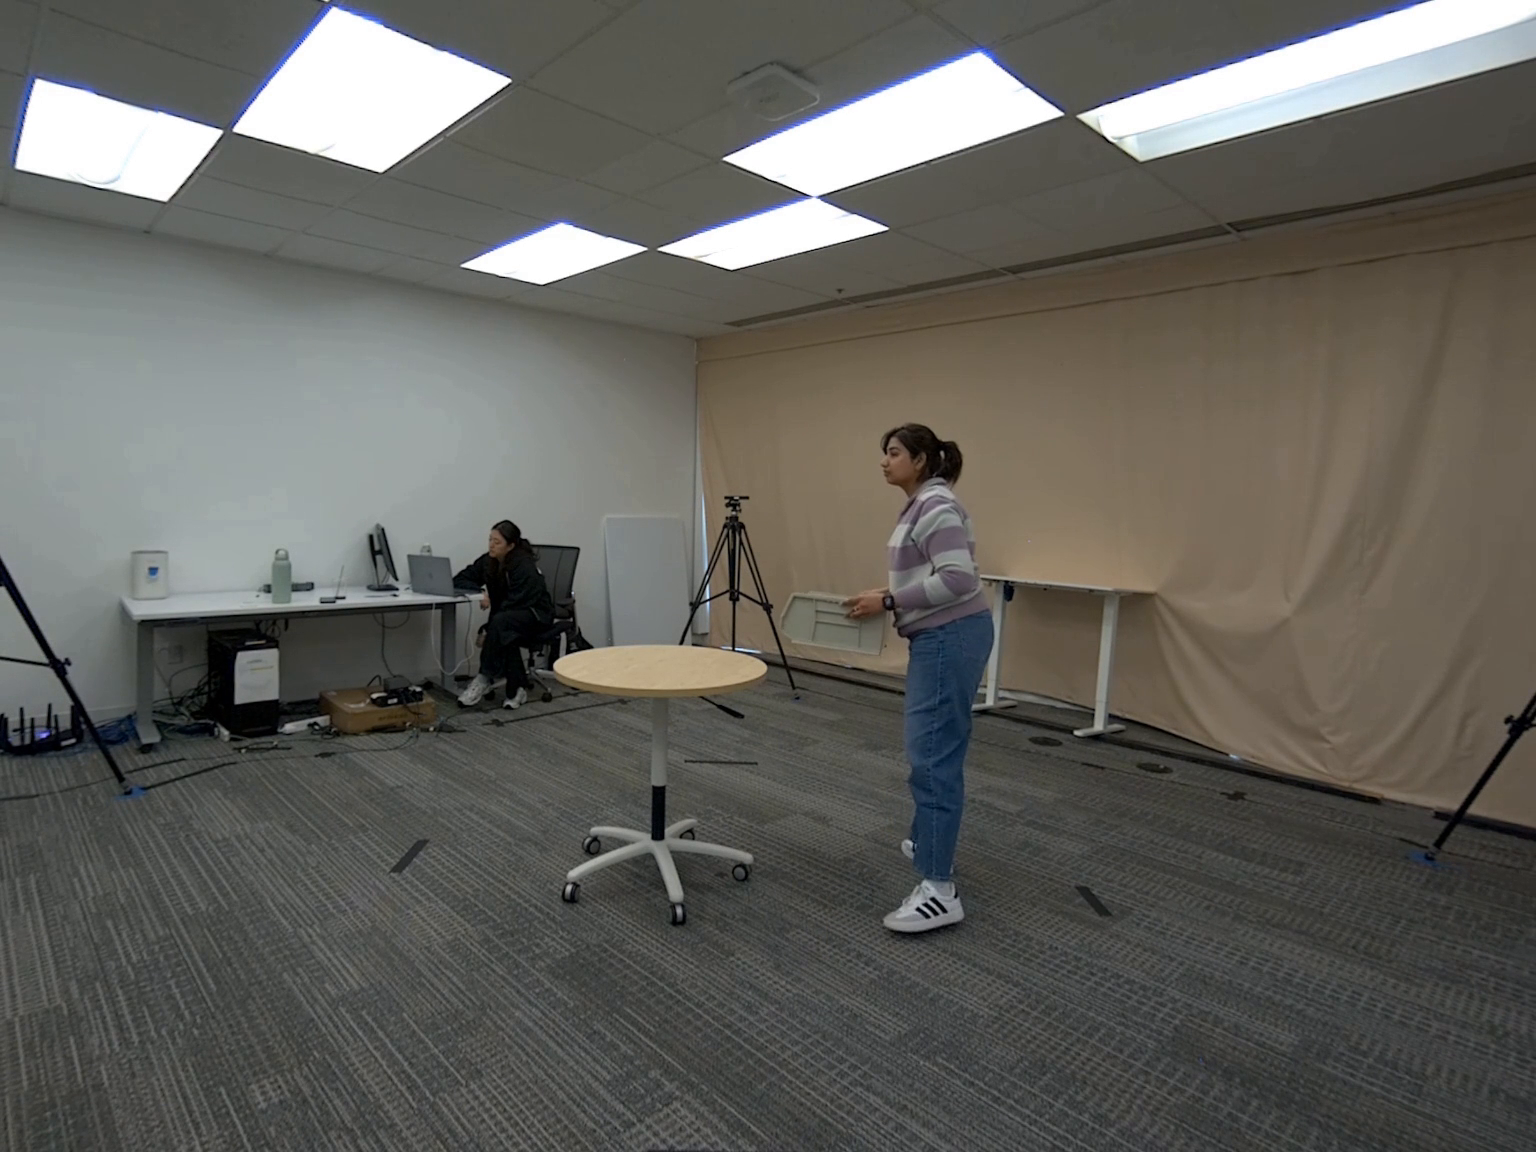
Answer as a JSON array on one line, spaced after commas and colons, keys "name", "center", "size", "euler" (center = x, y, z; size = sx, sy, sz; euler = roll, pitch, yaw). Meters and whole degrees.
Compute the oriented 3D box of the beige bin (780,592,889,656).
[{"name": "beige bin", "center": [0.255, 0.170, 3.158], "size": [0.381, 0.189, 0.418], "euler": [8, 1, 11]}]
